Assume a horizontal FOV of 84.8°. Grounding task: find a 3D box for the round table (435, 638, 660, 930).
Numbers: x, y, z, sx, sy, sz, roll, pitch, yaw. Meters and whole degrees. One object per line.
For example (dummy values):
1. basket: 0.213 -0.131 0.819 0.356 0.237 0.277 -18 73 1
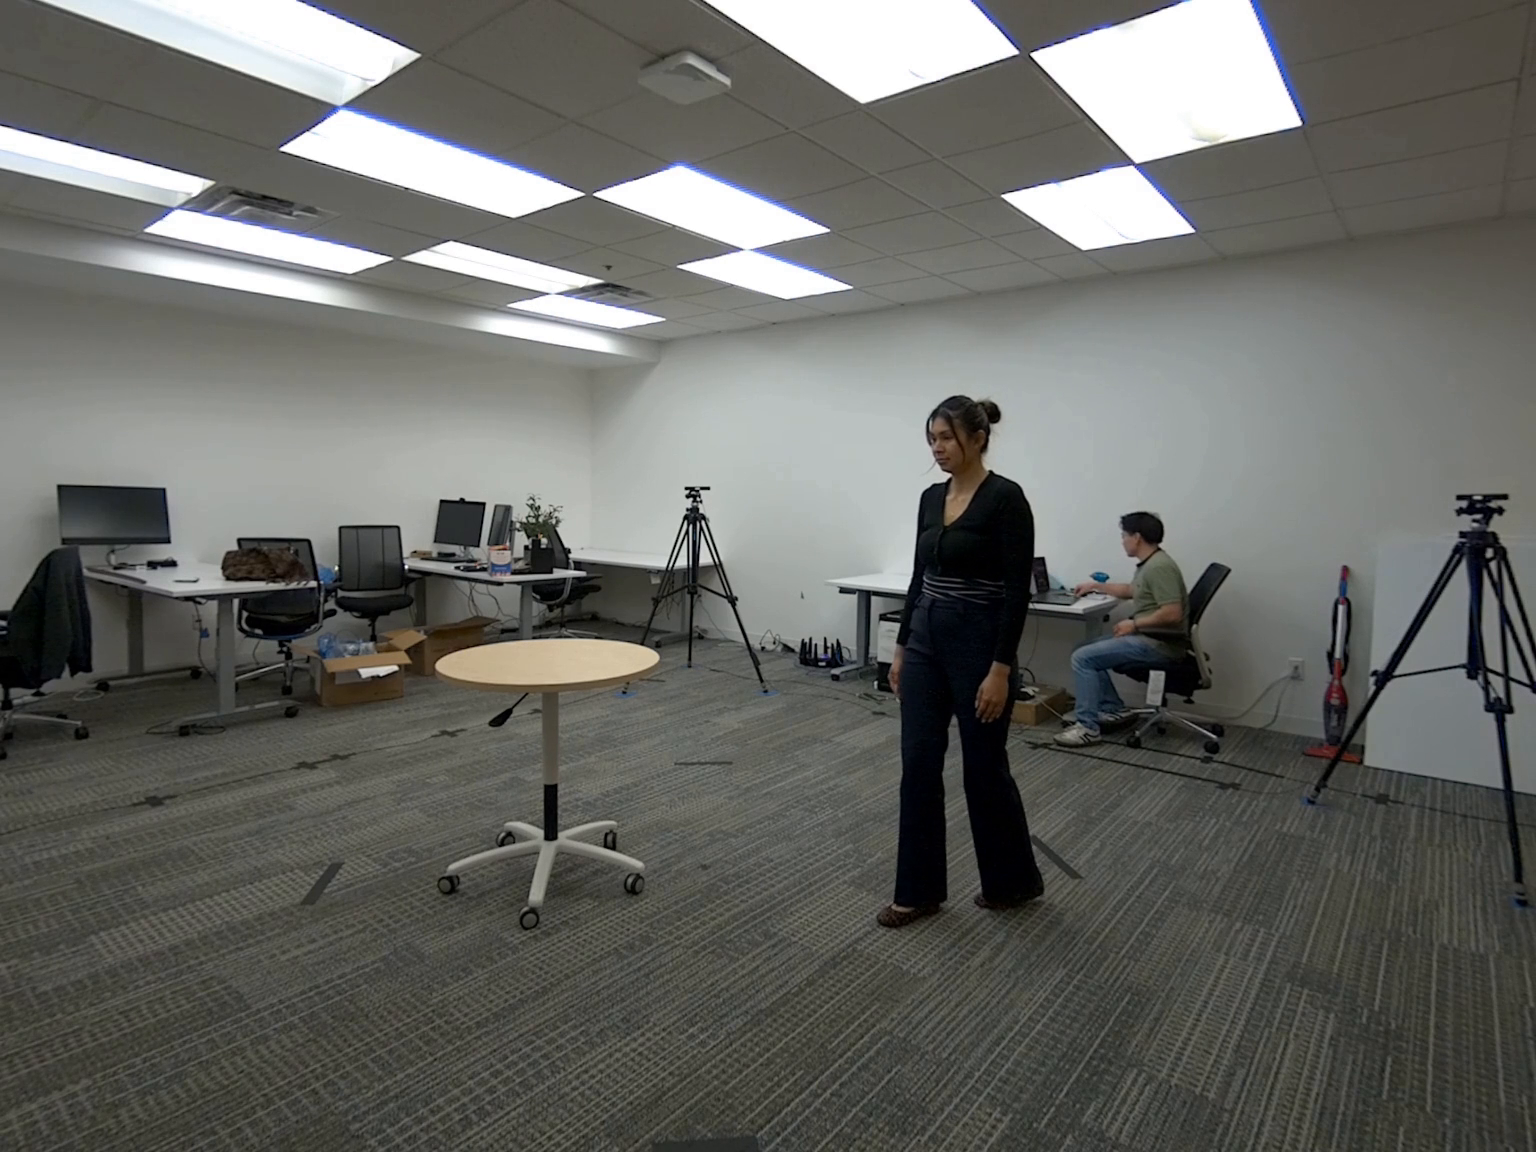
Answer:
1. round table: -0.777 0.680 3.001 0.763 0.791 0.768 0 4 -2
